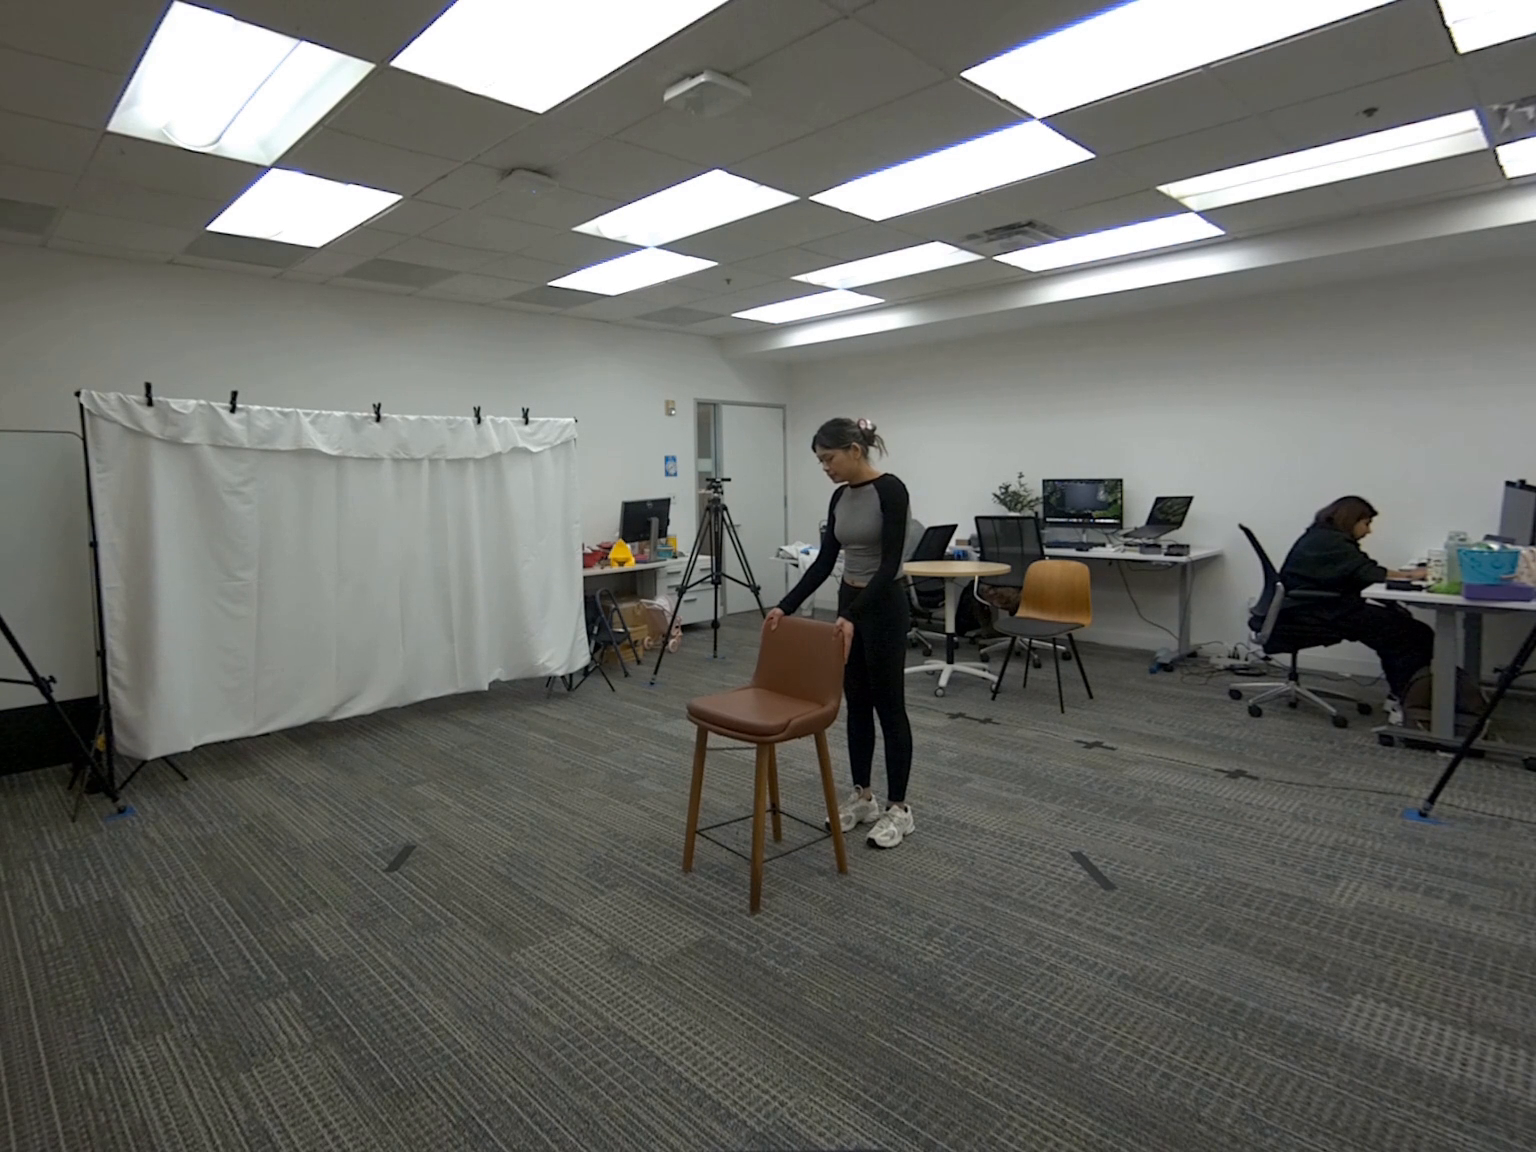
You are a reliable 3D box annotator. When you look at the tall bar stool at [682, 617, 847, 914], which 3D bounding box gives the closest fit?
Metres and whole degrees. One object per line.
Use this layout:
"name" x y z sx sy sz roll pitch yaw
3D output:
"tall bar stool" -0.003 0.612 3.011 0.454 0.888 0.470 -1 3 -40
